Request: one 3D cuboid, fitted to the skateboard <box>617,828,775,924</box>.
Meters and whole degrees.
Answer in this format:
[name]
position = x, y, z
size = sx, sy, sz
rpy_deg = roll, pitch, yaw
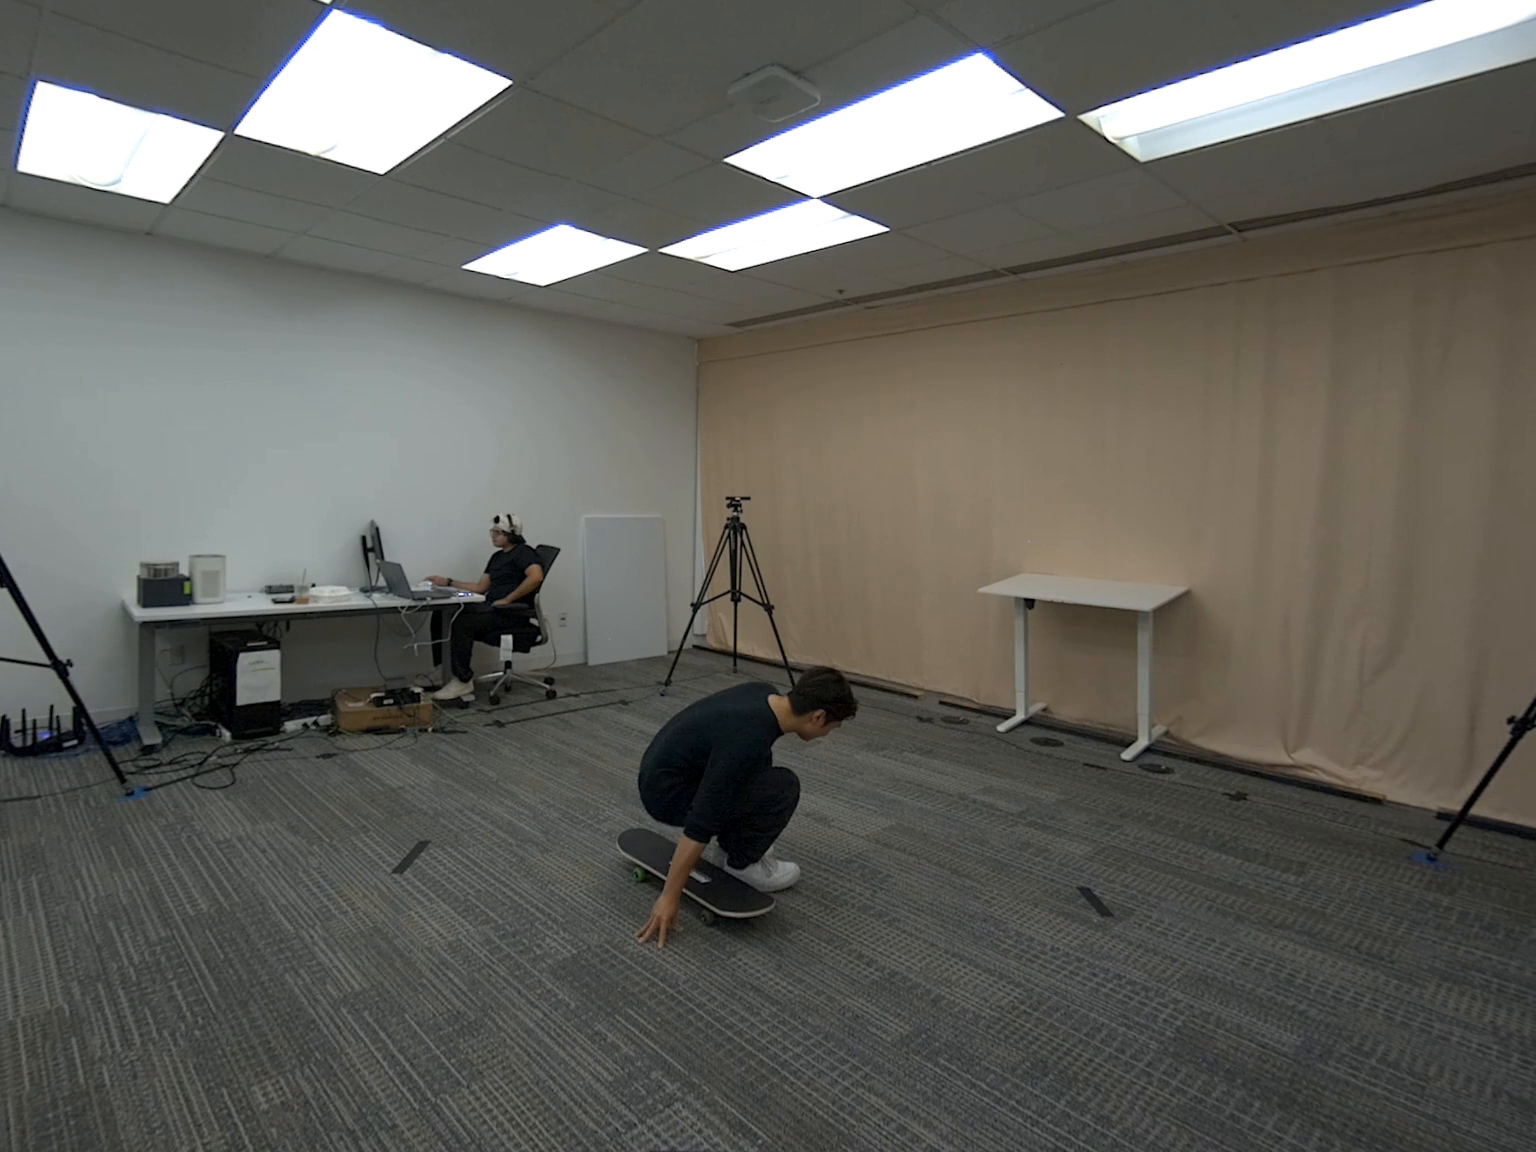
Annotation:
[skateboard]
position = -0.281, 1.063, 2.947
size = 0.189, 0.110, 0.806
rpy_deg = -4, 8, -41
